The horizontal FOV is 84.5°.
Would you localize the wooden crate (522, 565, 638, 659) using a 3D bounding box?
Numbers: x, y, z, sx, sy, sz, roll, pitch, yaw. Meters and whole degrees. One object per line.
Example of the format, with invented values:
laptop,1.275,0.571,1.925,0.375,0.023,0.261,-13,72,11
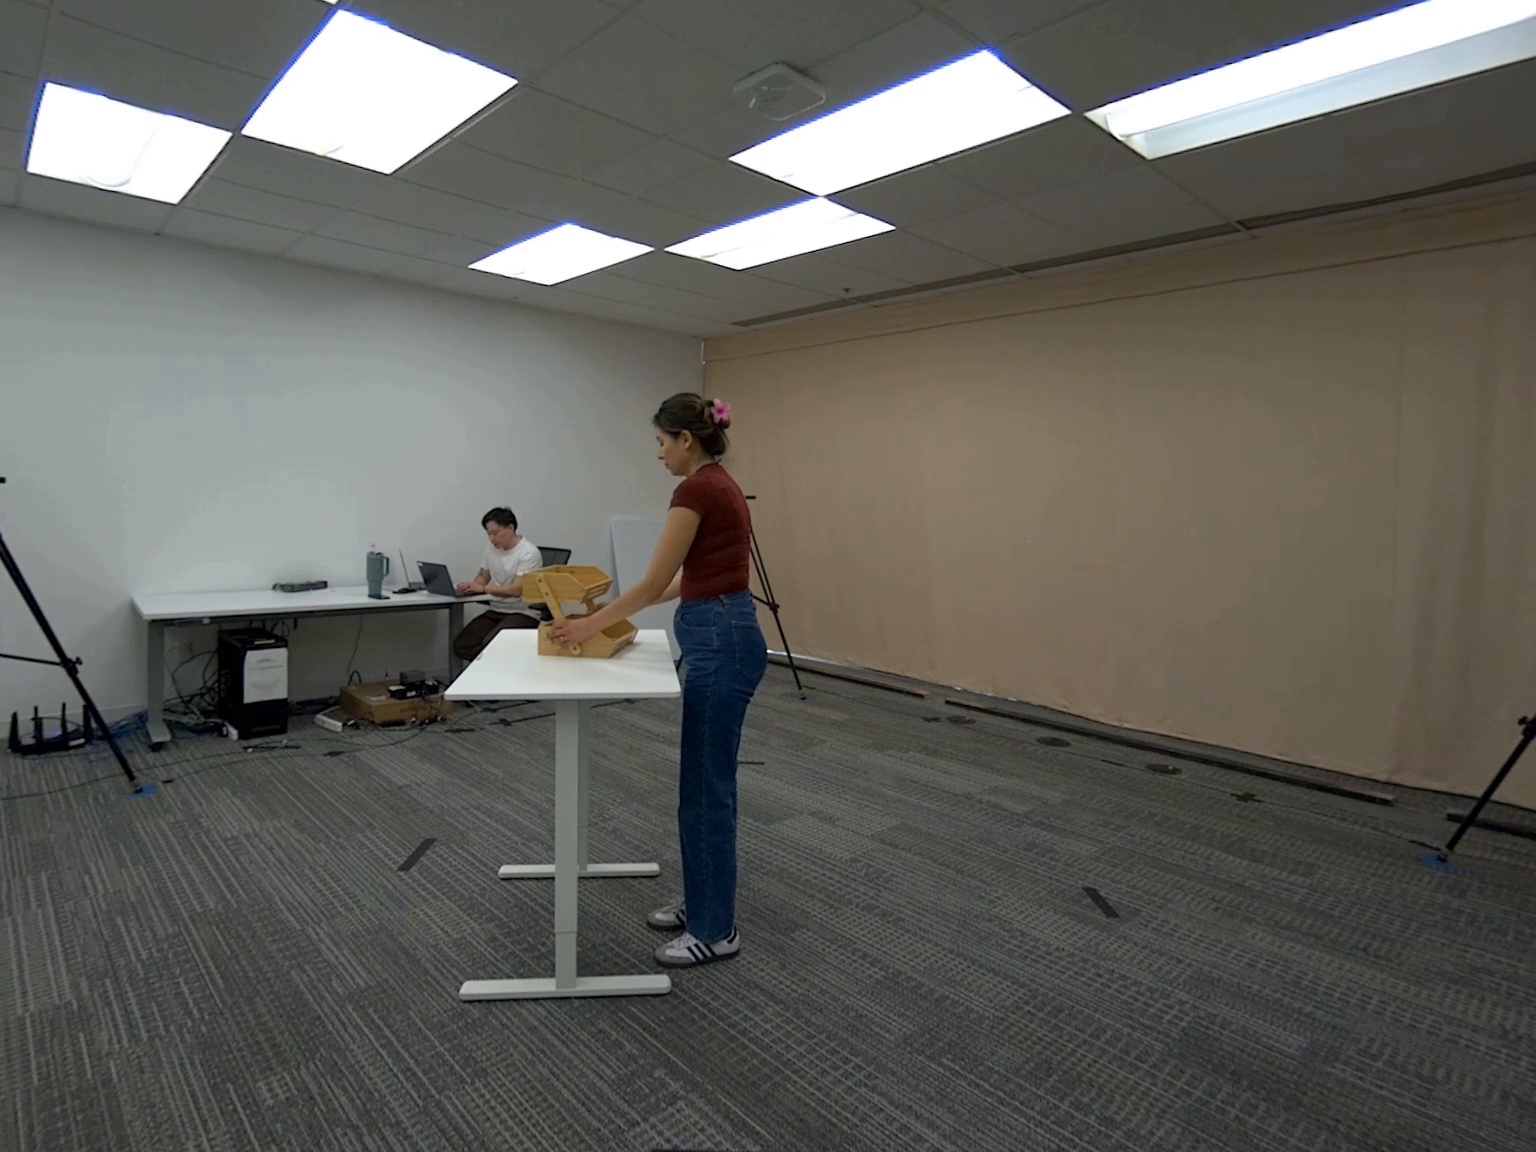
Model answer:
wooden crate,-0.611,0.113,2.772,0.304,0.272,0.323,2,4,6
